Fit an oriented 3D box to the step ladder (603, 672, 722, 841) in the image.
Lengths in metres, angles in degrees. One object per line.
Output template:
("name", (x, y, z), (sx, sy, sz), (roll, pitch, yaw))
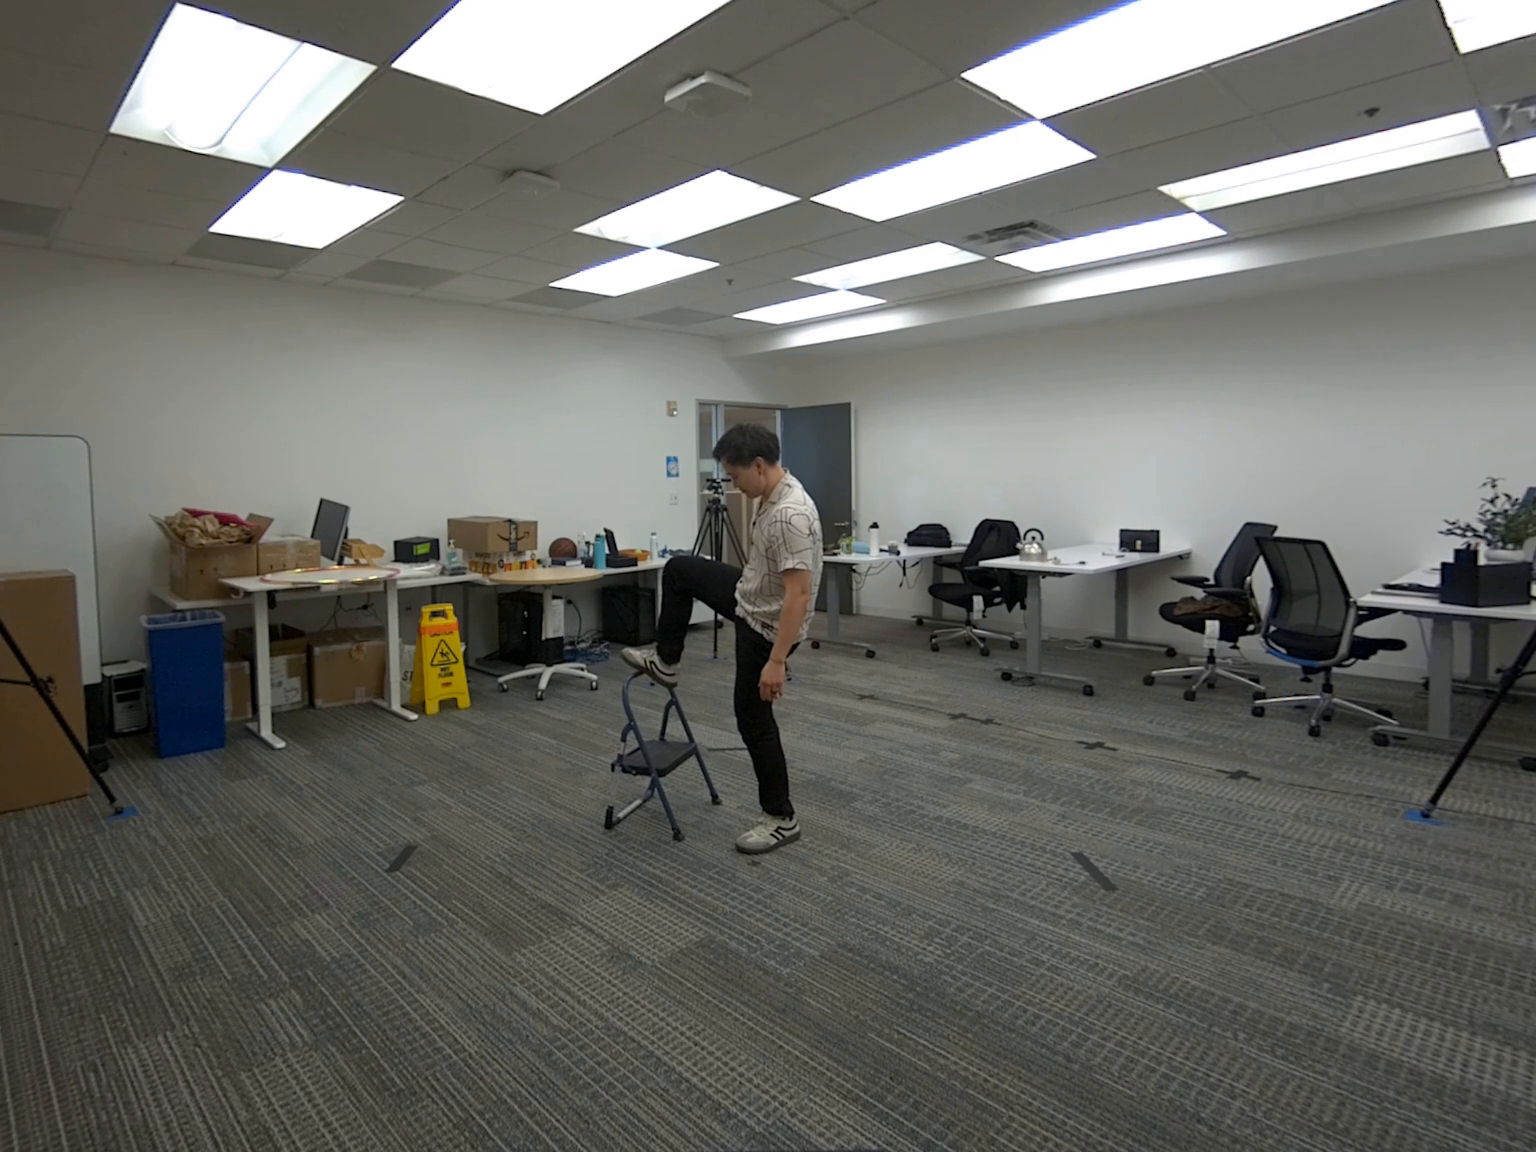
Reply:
("step ladder", (-0.447, 0.693, 3.548), (0.356, 0.604, 0.424), (-1, 3, 19))
